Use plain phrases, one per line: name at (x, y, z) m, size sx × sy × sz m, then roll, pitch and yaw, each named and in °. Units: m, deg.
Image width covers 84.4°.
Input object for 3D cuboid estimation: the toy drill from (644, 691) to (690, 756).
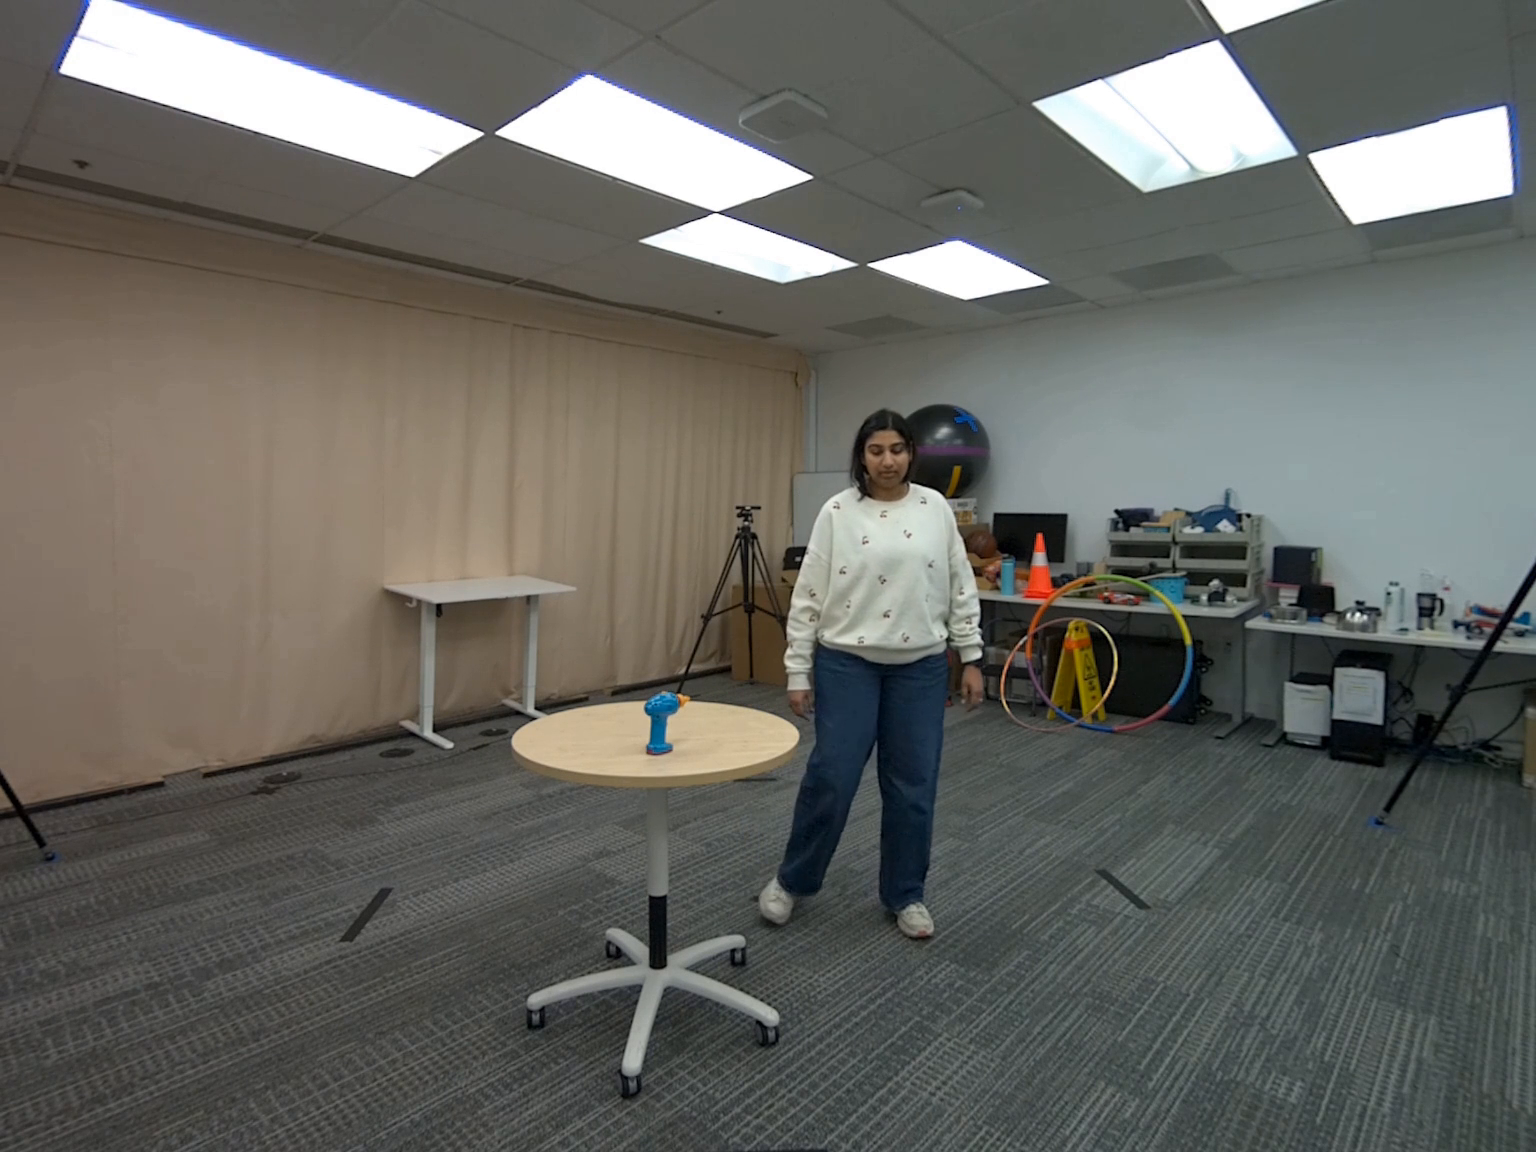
toy drill at (-0.249, 0.364, 2.101) m, size 0.063 × 0.146 × 0.165 m, roll 2°, pitch 5°, yaw 27°
